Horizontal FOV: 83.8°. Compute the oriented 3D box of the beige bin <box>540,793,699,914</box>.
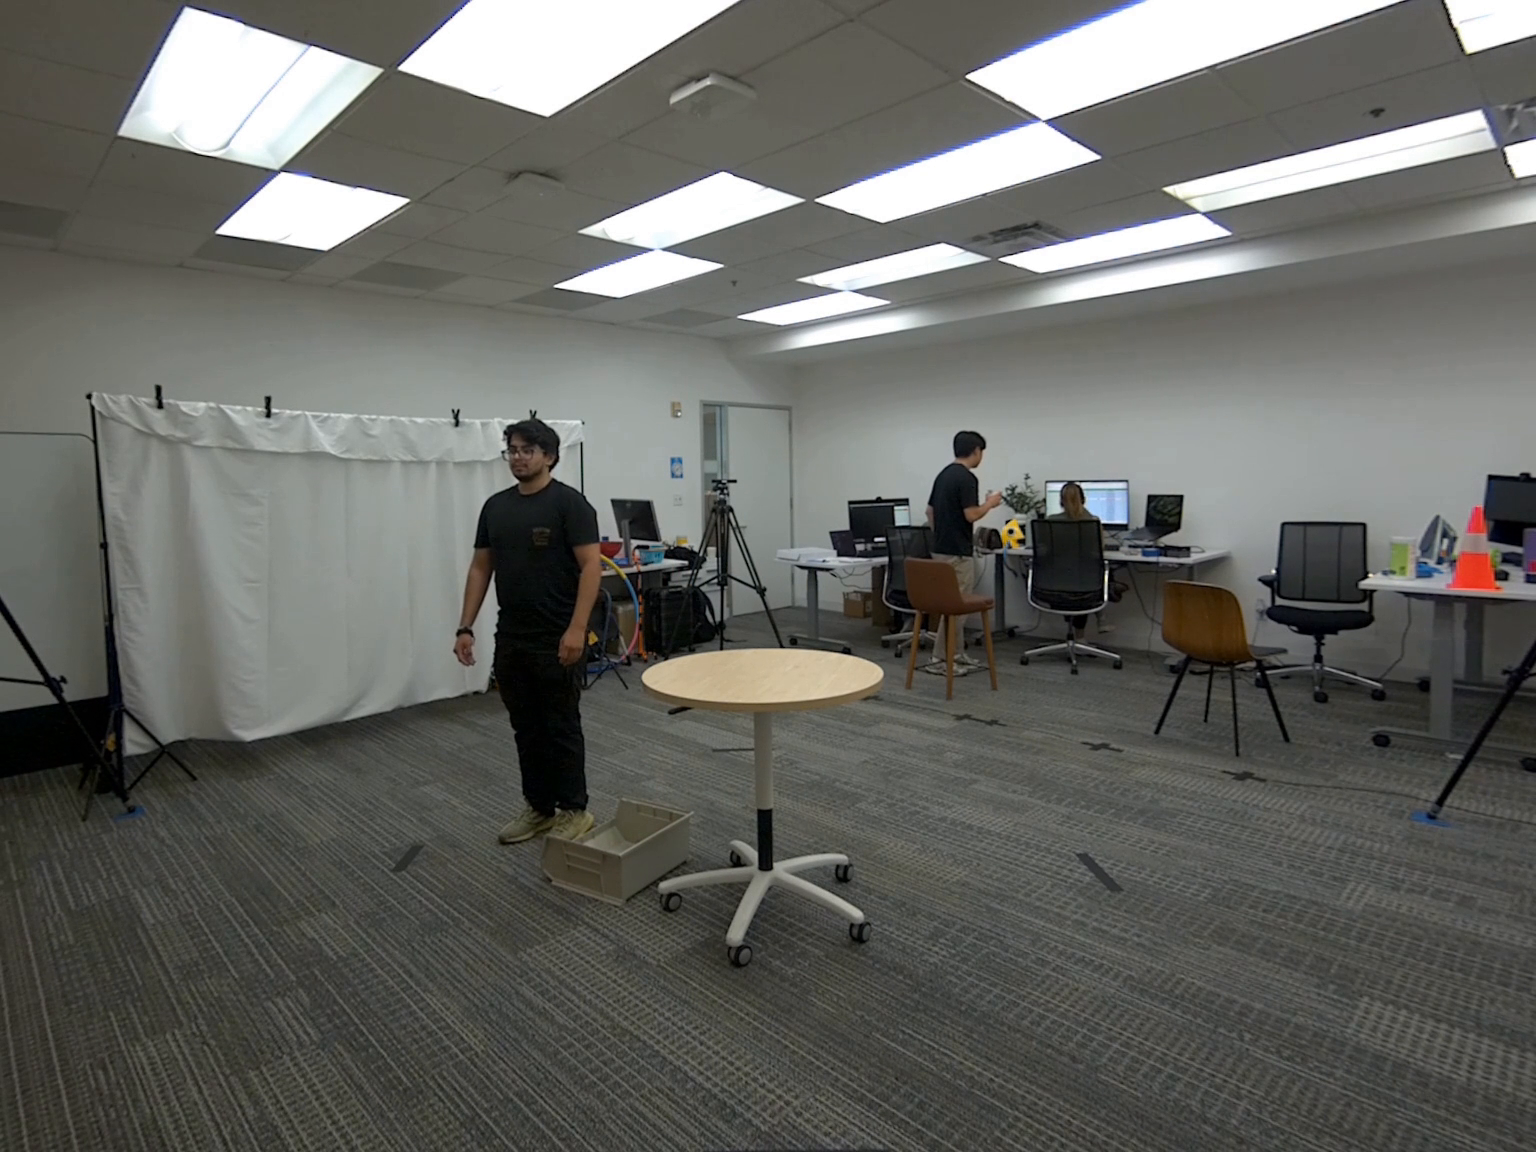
[{"bbox_3d":[-0.527,0.974,3.071,0.388,0.188,0.412,4,7,31],"label":"beige bin"}]
